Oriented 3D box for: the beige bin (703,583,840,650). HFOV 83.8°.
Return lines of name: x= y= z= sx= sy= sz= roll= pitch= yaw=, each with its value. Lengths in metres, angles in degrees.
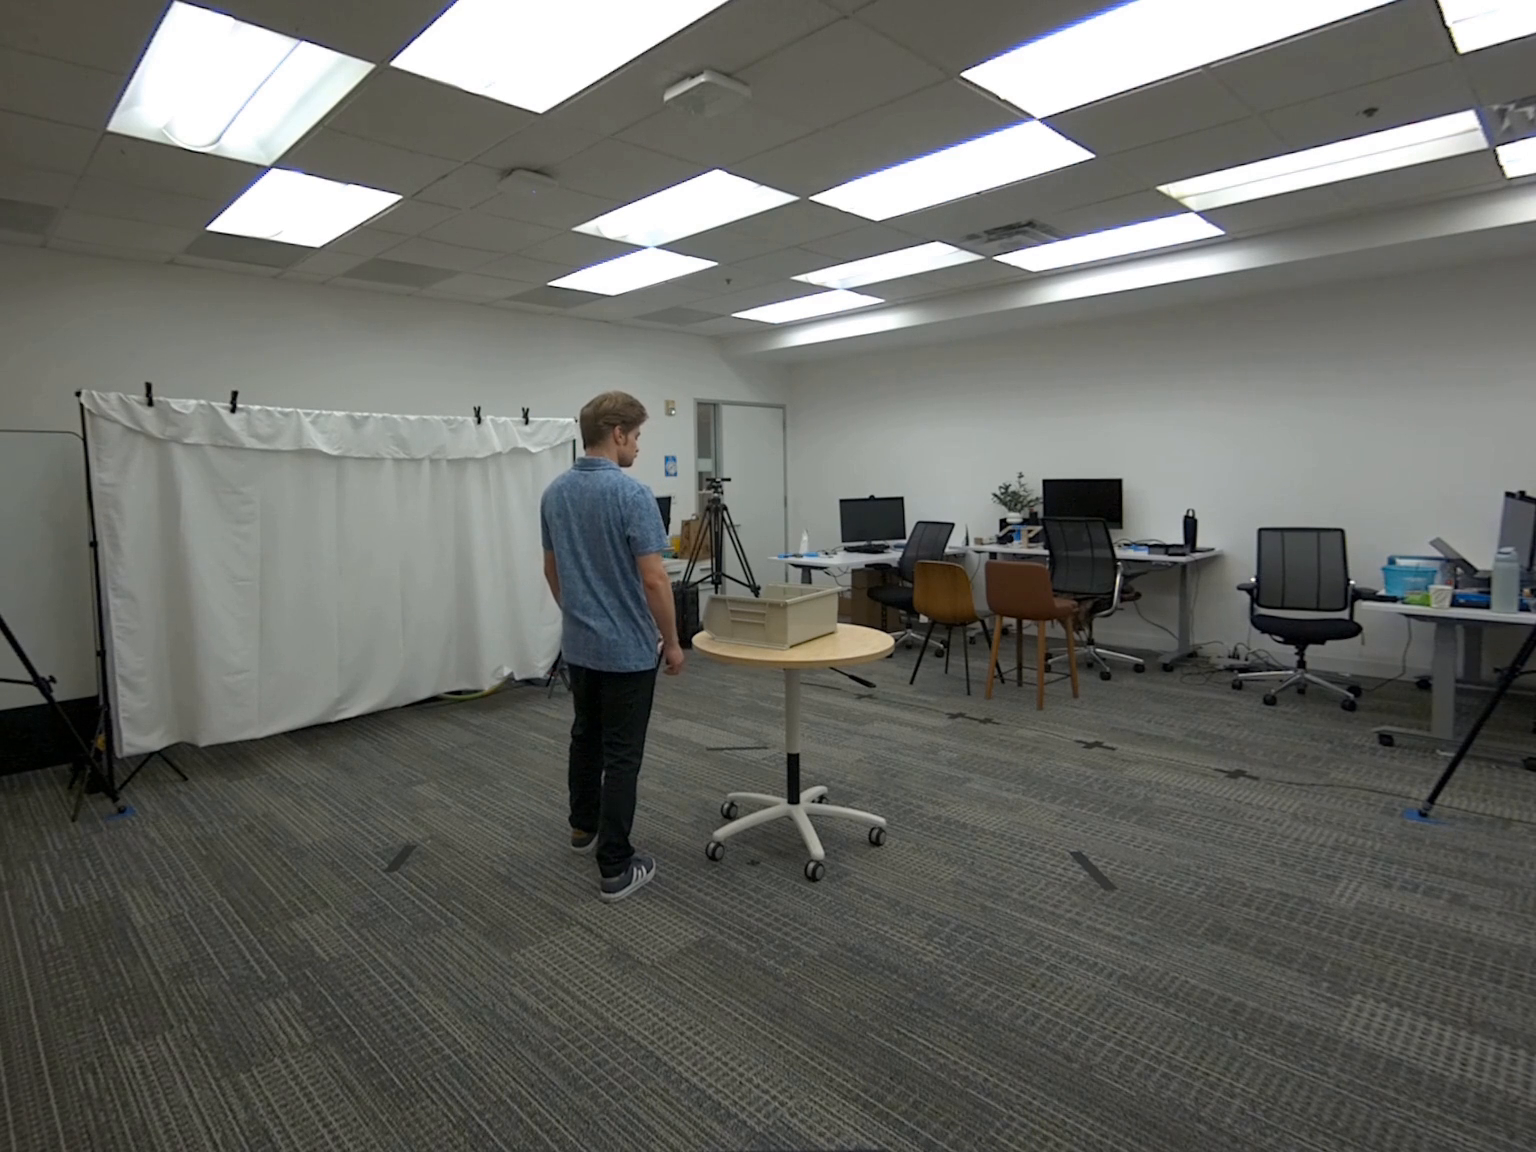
beige bin: x=0.022 y=0.147 z=3.306 sx=0.388 sy=0.188 sz=0.412 roll=5 pitch=8 yaw=33
